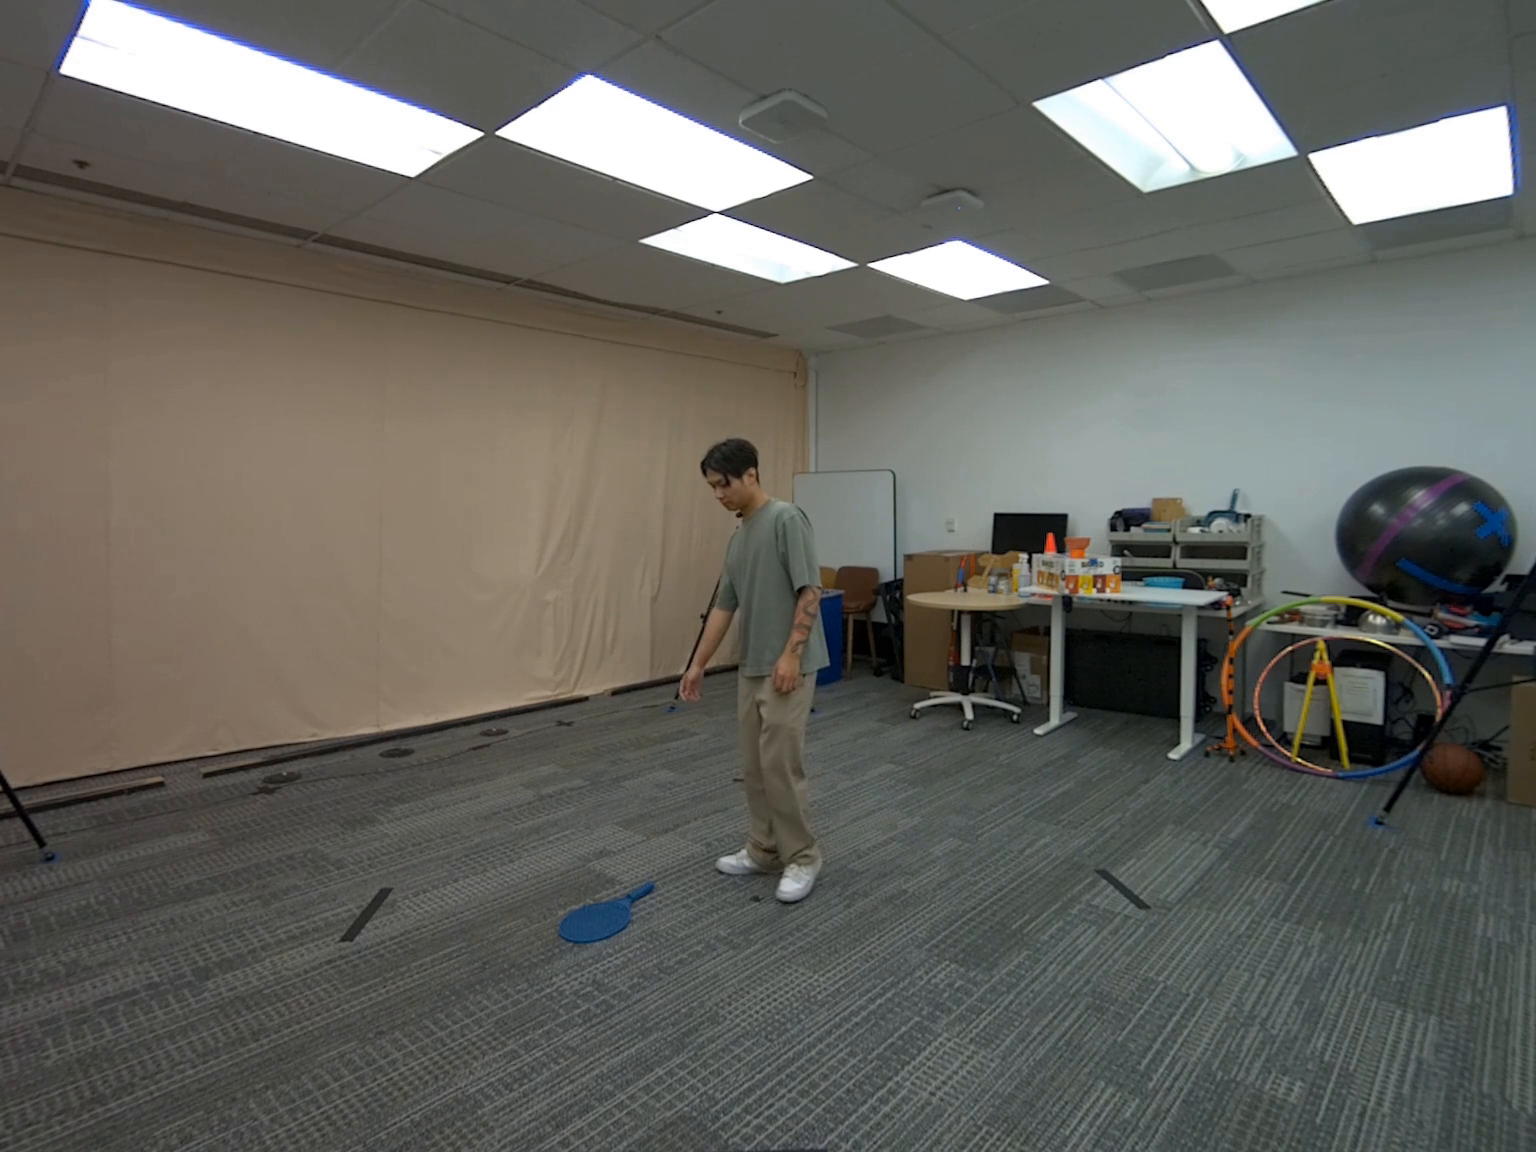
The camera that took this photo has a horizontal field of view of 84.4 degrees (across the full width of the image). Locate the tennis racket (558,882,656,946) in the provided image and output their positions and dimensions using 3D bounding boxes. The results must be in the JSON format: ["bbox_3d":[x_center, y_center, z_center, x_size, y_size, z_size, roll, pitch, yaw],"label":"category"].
[{"bbox_3d":[-0.532,1.142,2.879,0.220,0.031,0.421,3,7,31],"label":"tennis racket"}]
